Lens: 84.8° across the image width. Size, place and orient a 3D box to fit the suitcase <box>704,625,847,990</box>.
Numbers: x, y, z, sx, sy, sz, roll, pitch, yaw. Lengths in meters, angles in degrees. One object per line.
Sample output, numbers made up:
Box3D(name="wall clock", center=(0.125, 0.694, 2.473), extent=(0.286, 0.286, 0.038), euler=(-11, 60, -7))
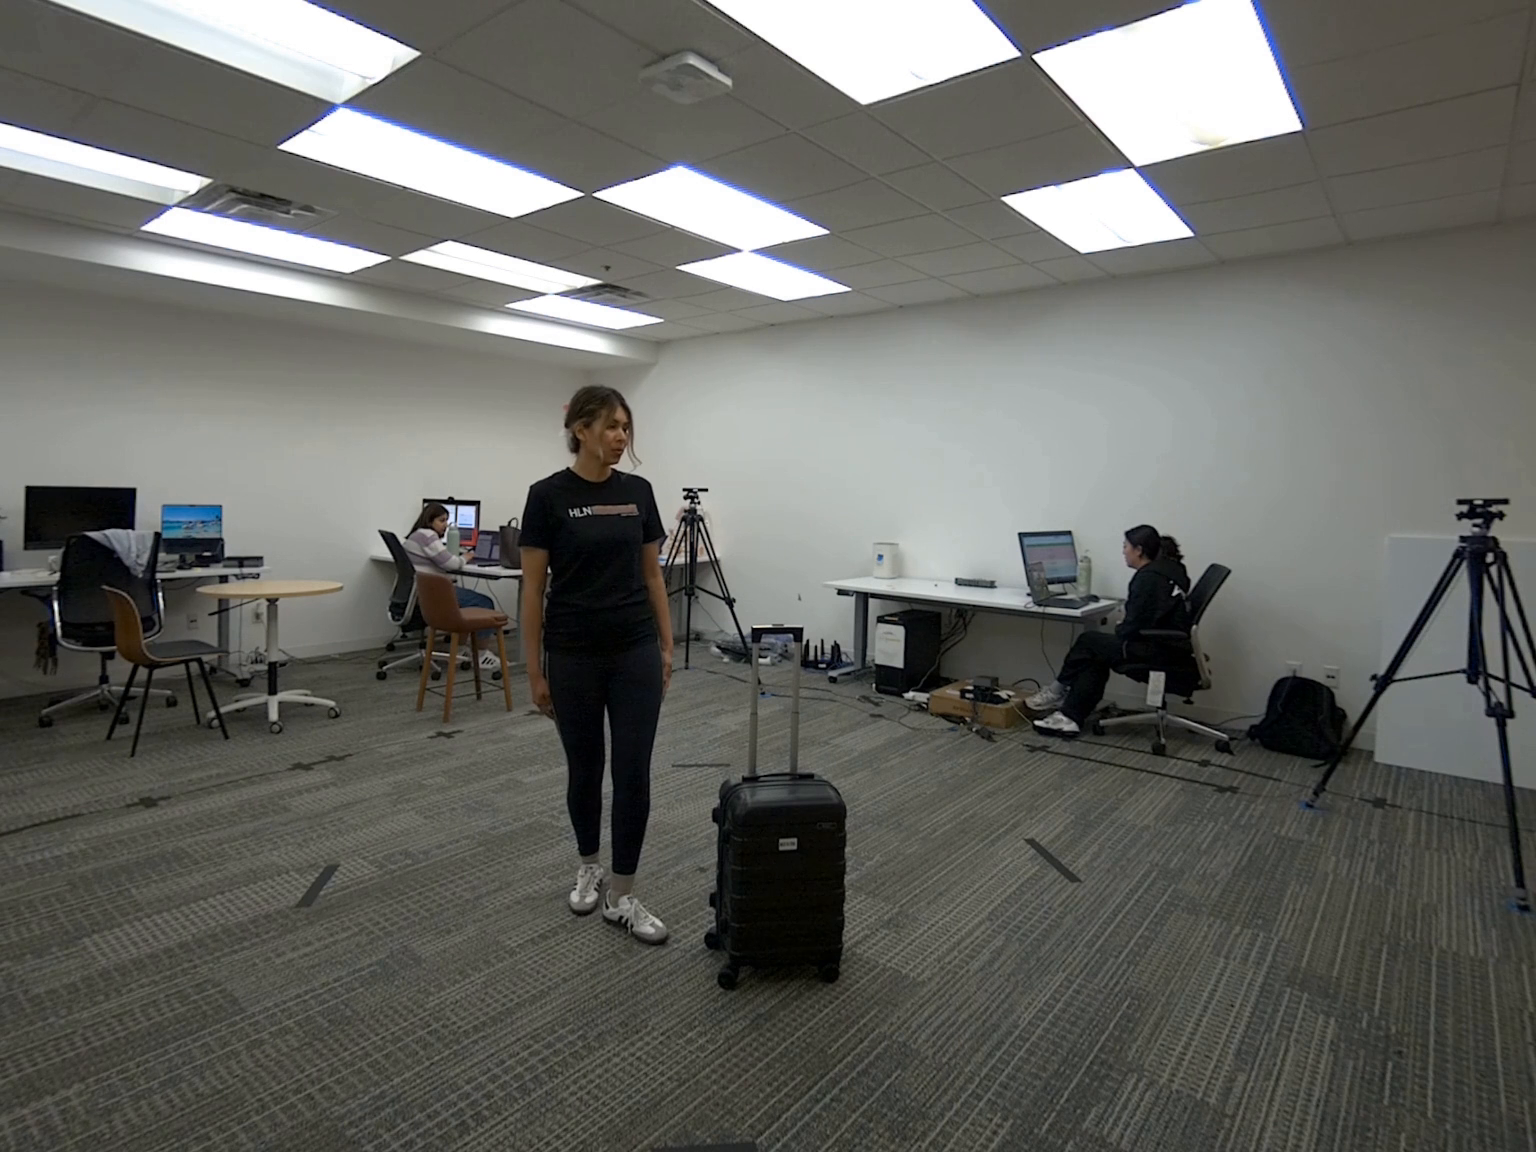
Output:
Box3D(name="suitcase", center=(0.035, 0.659, 2.470), extent=(0.380, 0.975, 0.261), euler=(1, 4, -11))
